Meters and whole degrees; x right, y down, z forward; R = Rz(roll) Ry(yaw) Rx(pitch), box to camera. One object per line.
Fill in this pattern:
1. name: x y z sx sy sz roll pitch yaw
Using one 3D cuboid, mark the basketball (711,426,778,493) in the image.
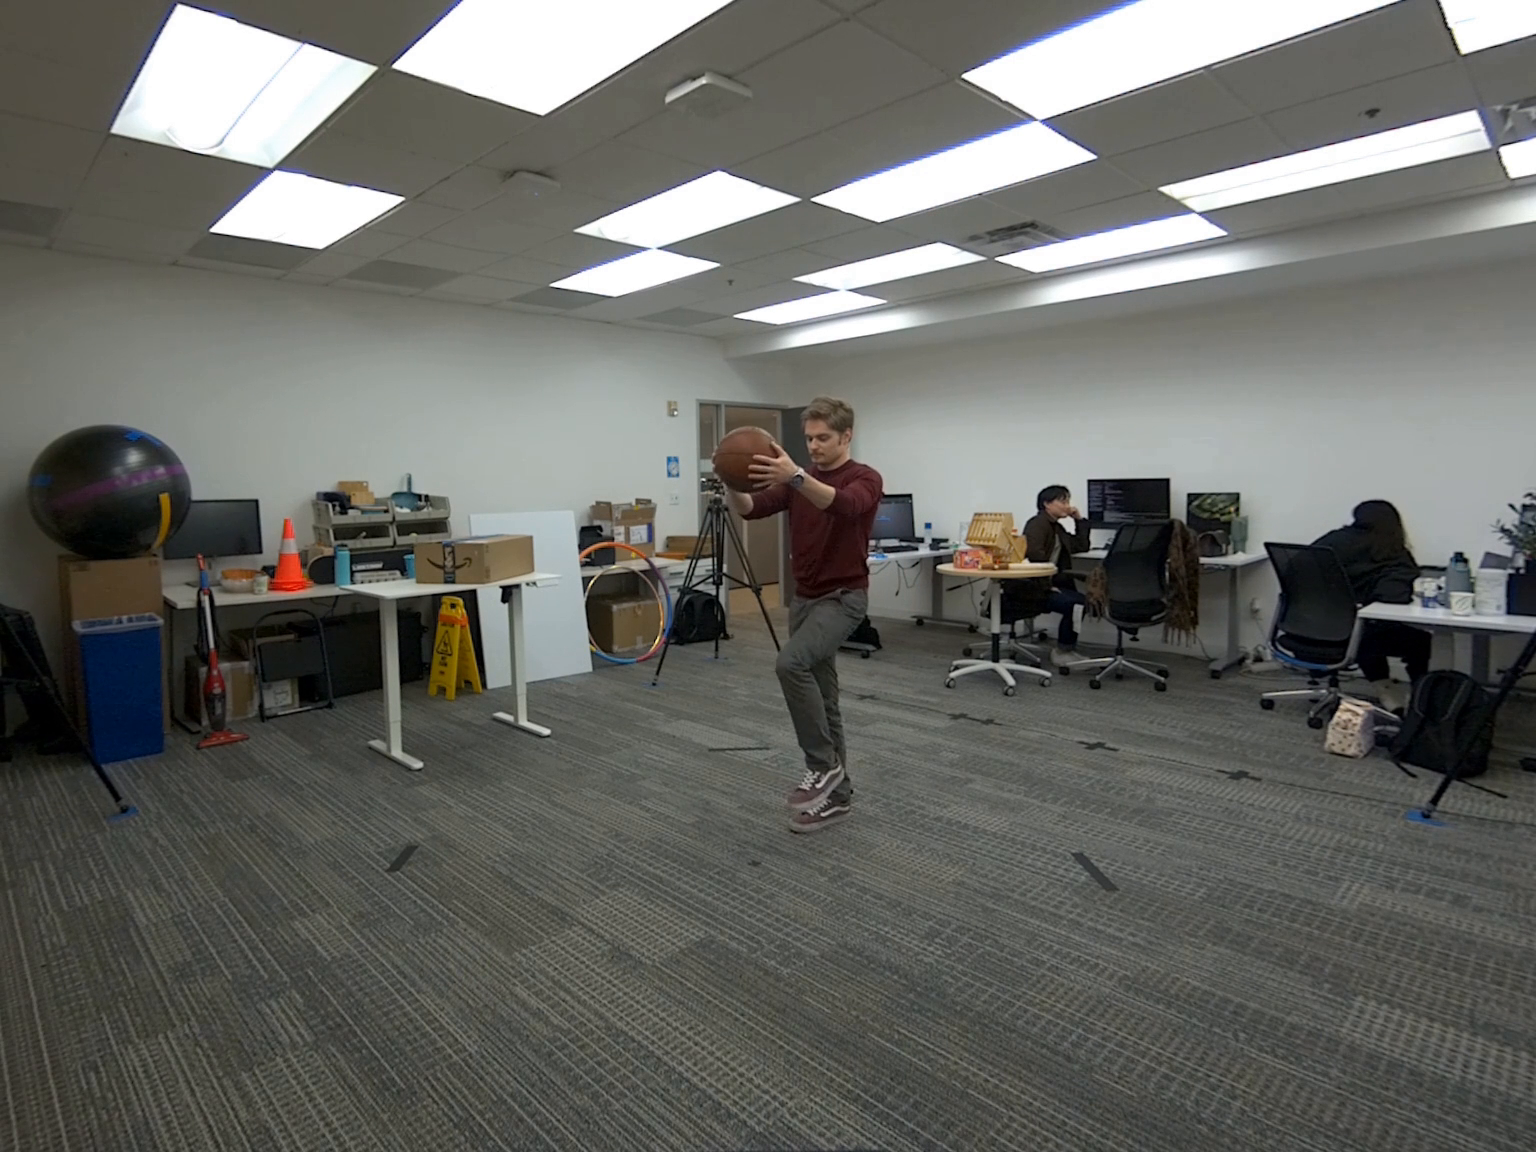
1. basketball: -0.069 -0.400 3.052 0.236 0.235 0.237 -1 5 -2
